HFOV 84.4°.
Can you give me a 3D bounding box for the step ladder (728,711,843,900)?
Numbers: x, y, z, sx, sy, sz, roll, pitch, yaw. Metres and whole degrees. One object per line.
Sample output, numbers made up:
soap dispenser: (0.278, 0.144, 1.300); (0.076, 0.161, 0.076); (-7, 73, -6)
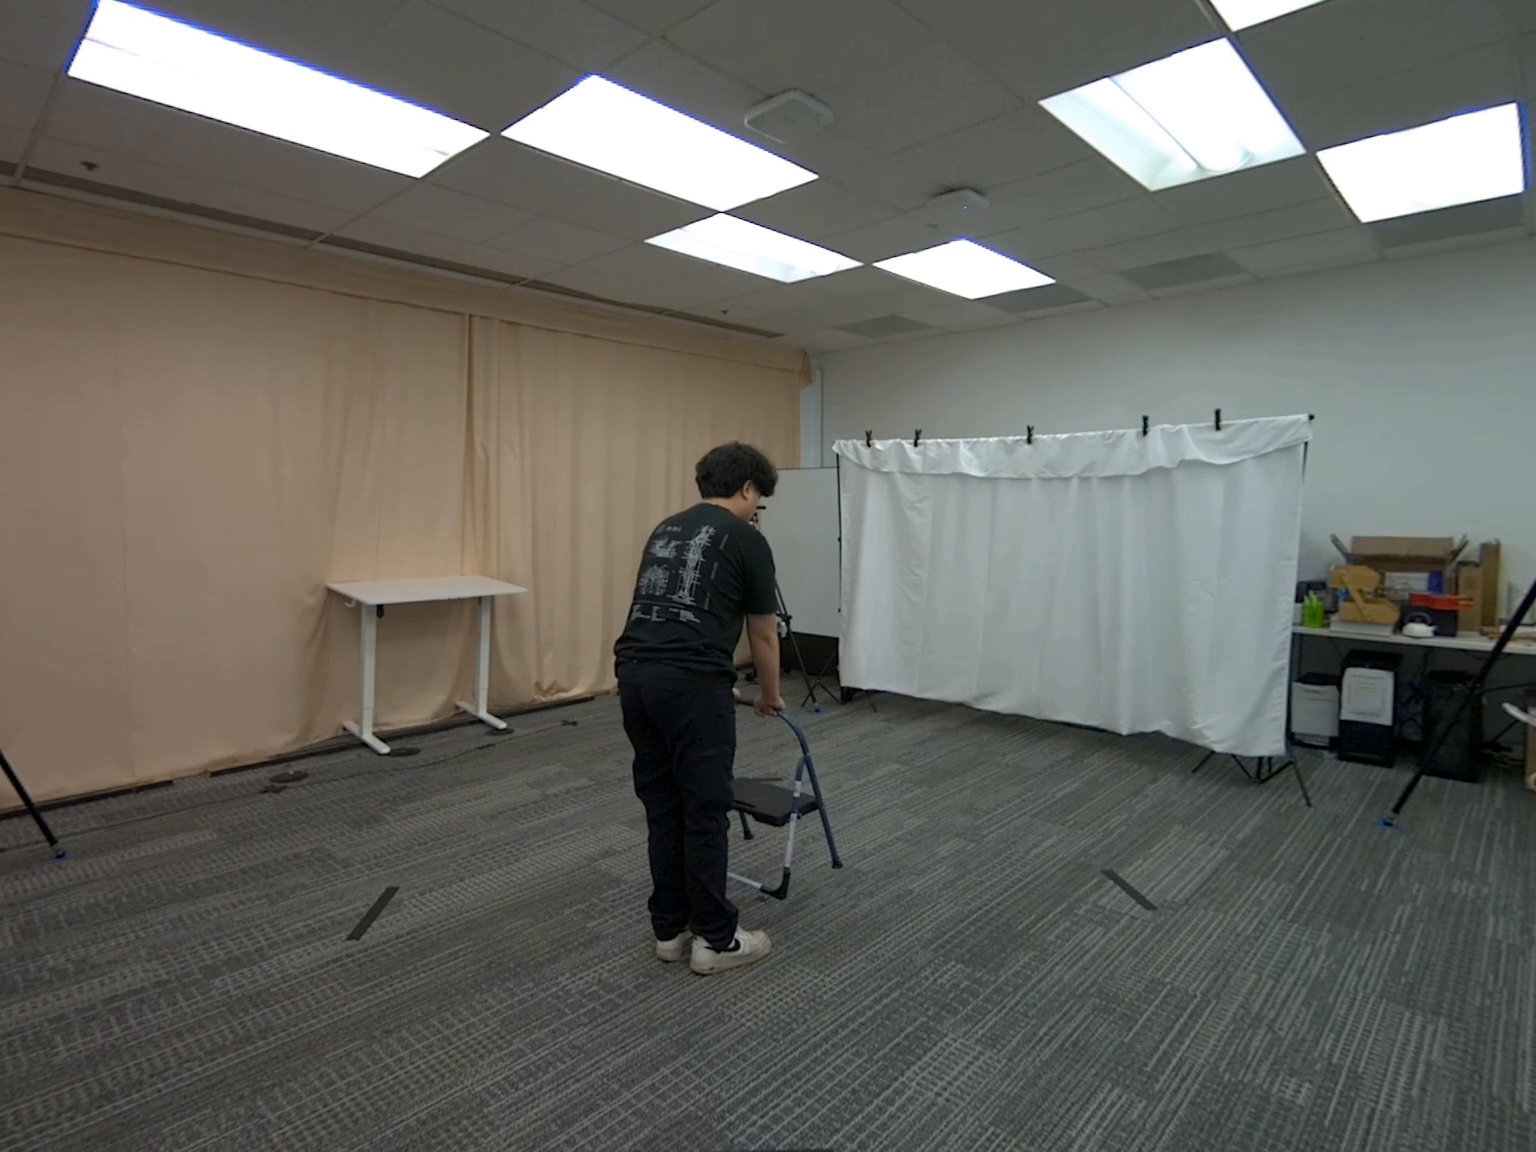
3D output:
step ladder: (-0.012, 0.721, 2.927); (0.445, 0.605, 0.339); (2, 5, 39)
